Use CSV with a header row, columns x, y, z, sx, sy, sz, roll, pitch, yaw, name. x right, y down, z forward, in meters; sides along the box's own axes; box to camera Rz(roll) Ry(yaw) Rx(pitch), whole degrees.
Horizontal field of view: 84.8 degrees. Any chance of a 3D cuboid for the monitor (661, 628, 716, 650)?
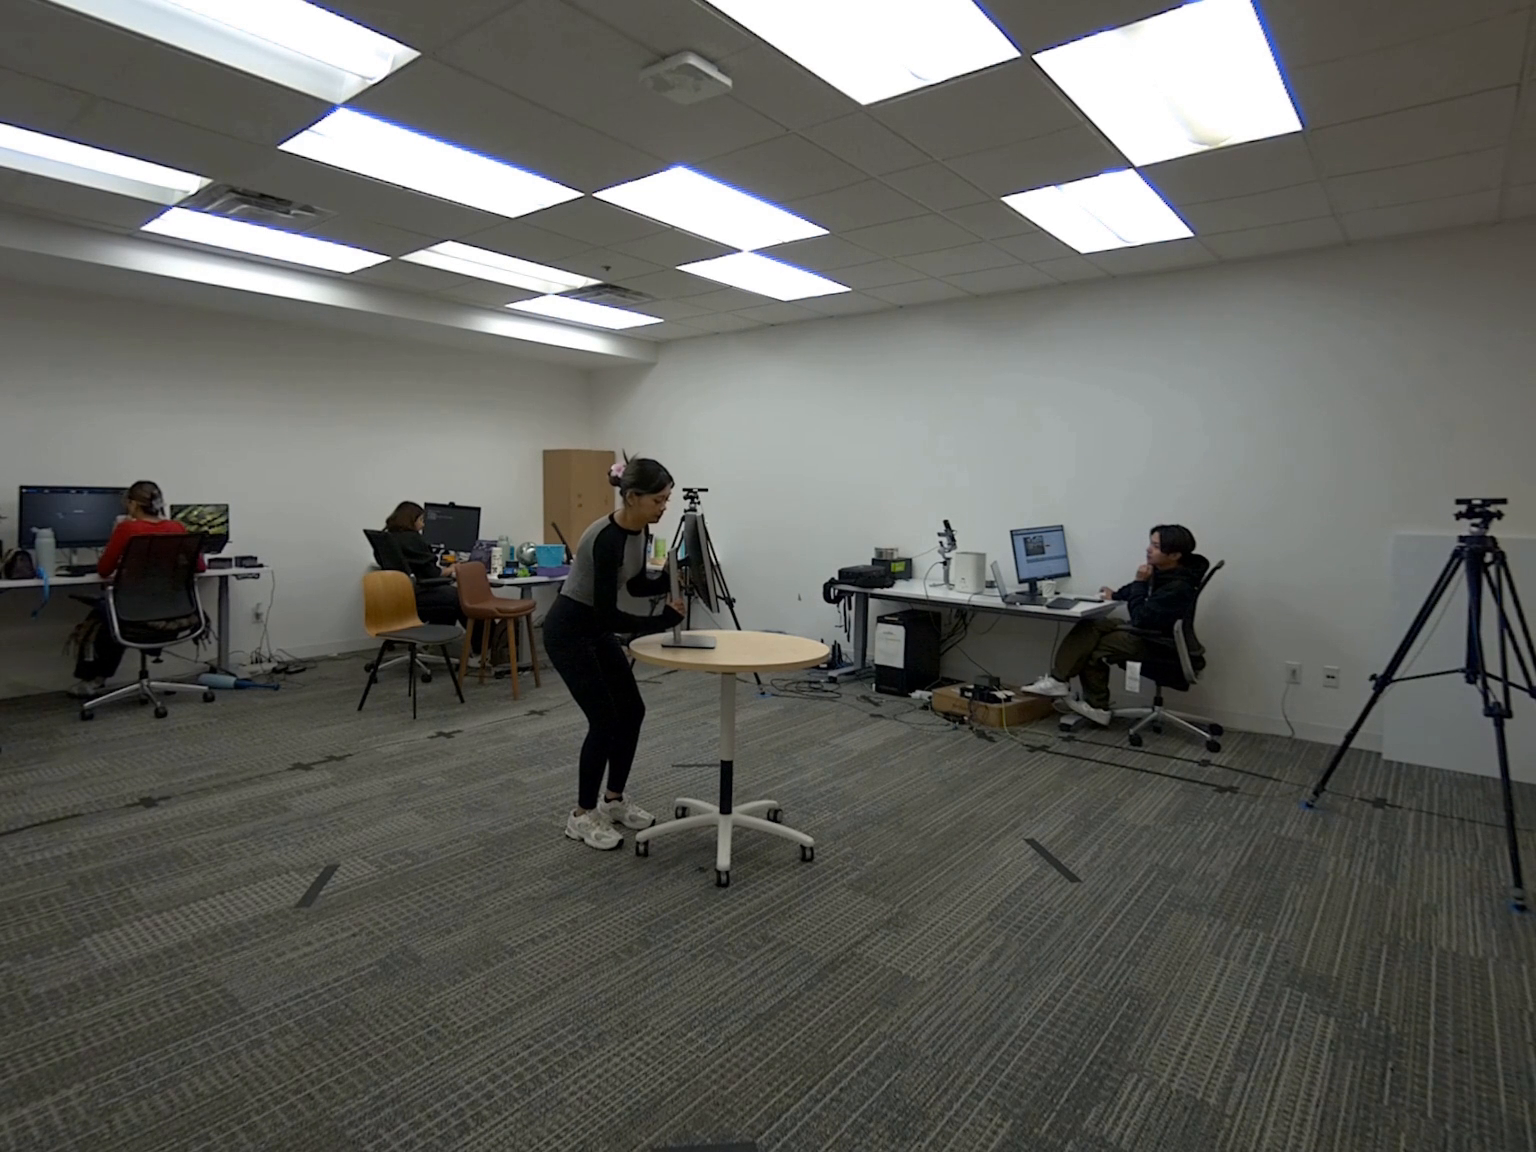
x,y,z,sx,sy,sz,roll,pitch,yaw,name
-0.312,0.014,3.289,0.185,0.522,0.546,2,2,-12,monitor
